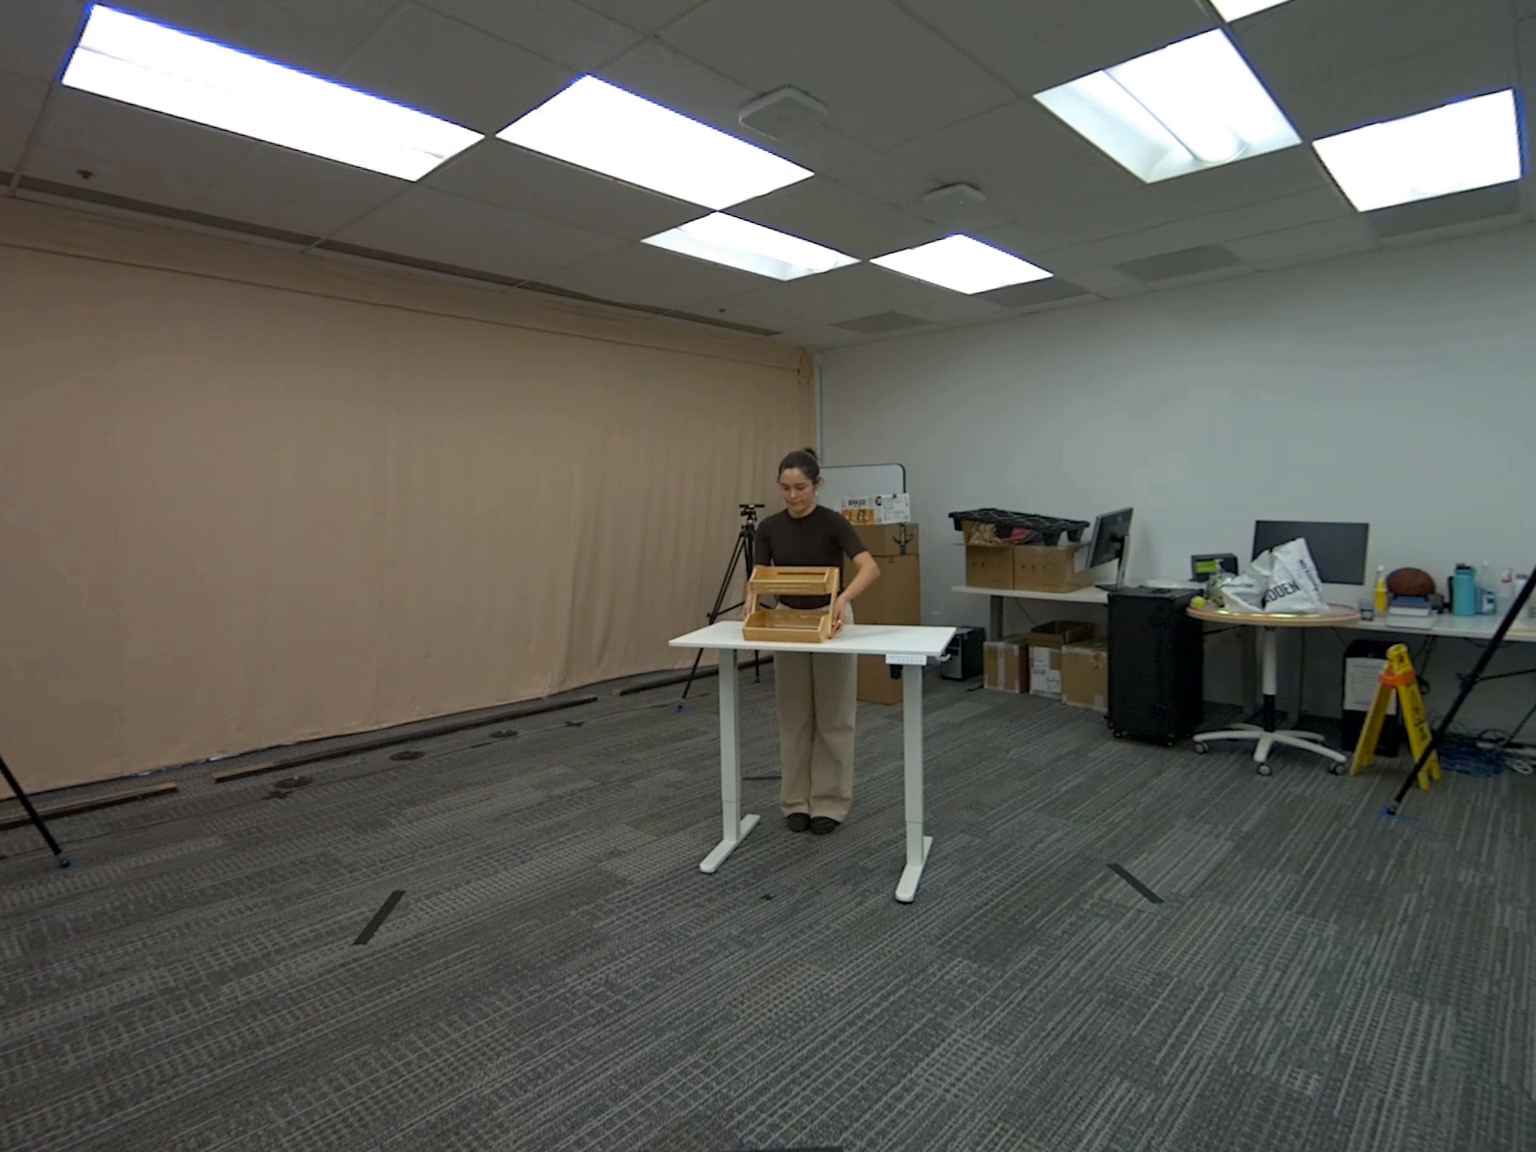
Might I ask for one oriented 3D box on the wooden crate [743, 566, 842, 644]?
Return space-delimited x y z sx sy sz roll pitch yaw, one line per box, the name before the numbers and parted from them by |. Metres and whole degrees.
wooden crate | 0.098 0.102 3.239 0.331 0.273 0.296 0 3 21
